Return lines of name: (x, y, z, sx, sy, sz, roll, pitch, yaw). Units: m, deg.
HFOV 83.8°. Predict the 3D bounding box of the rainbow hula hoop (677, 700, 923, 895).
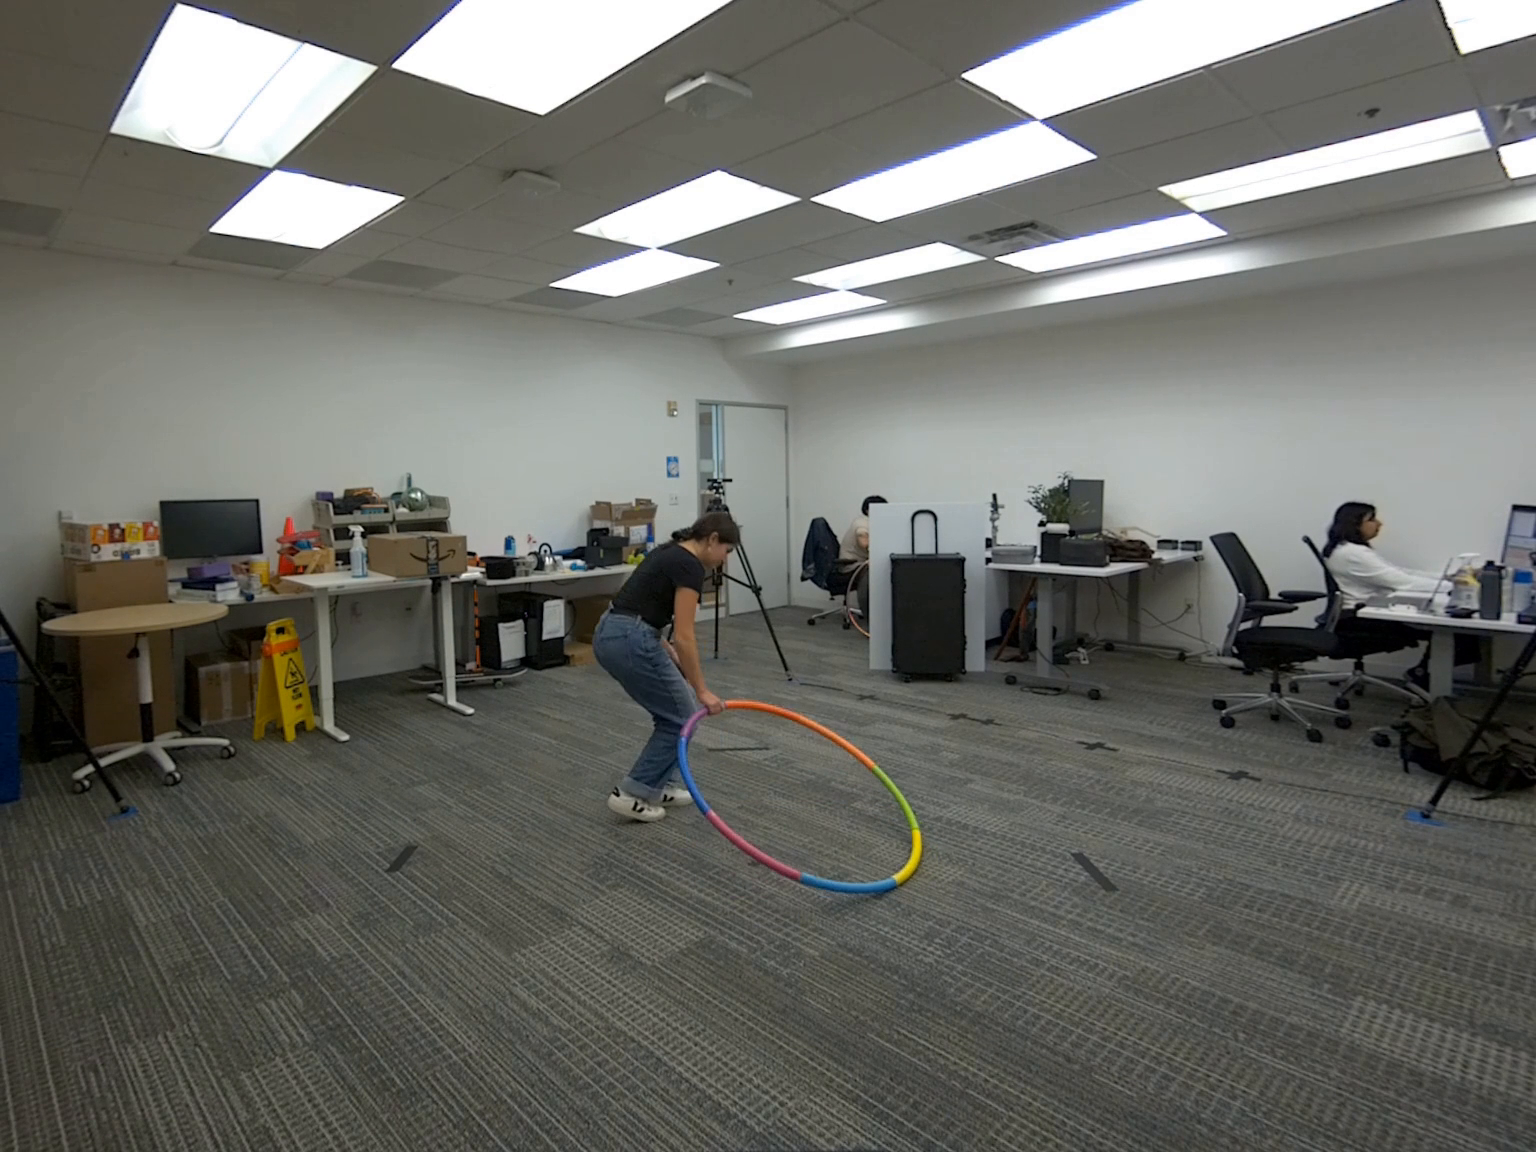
rainbow hula hoop: (0.114, 0.783, 3.218, 0.968, 0.035, 0.998, 19, 22, -9)
